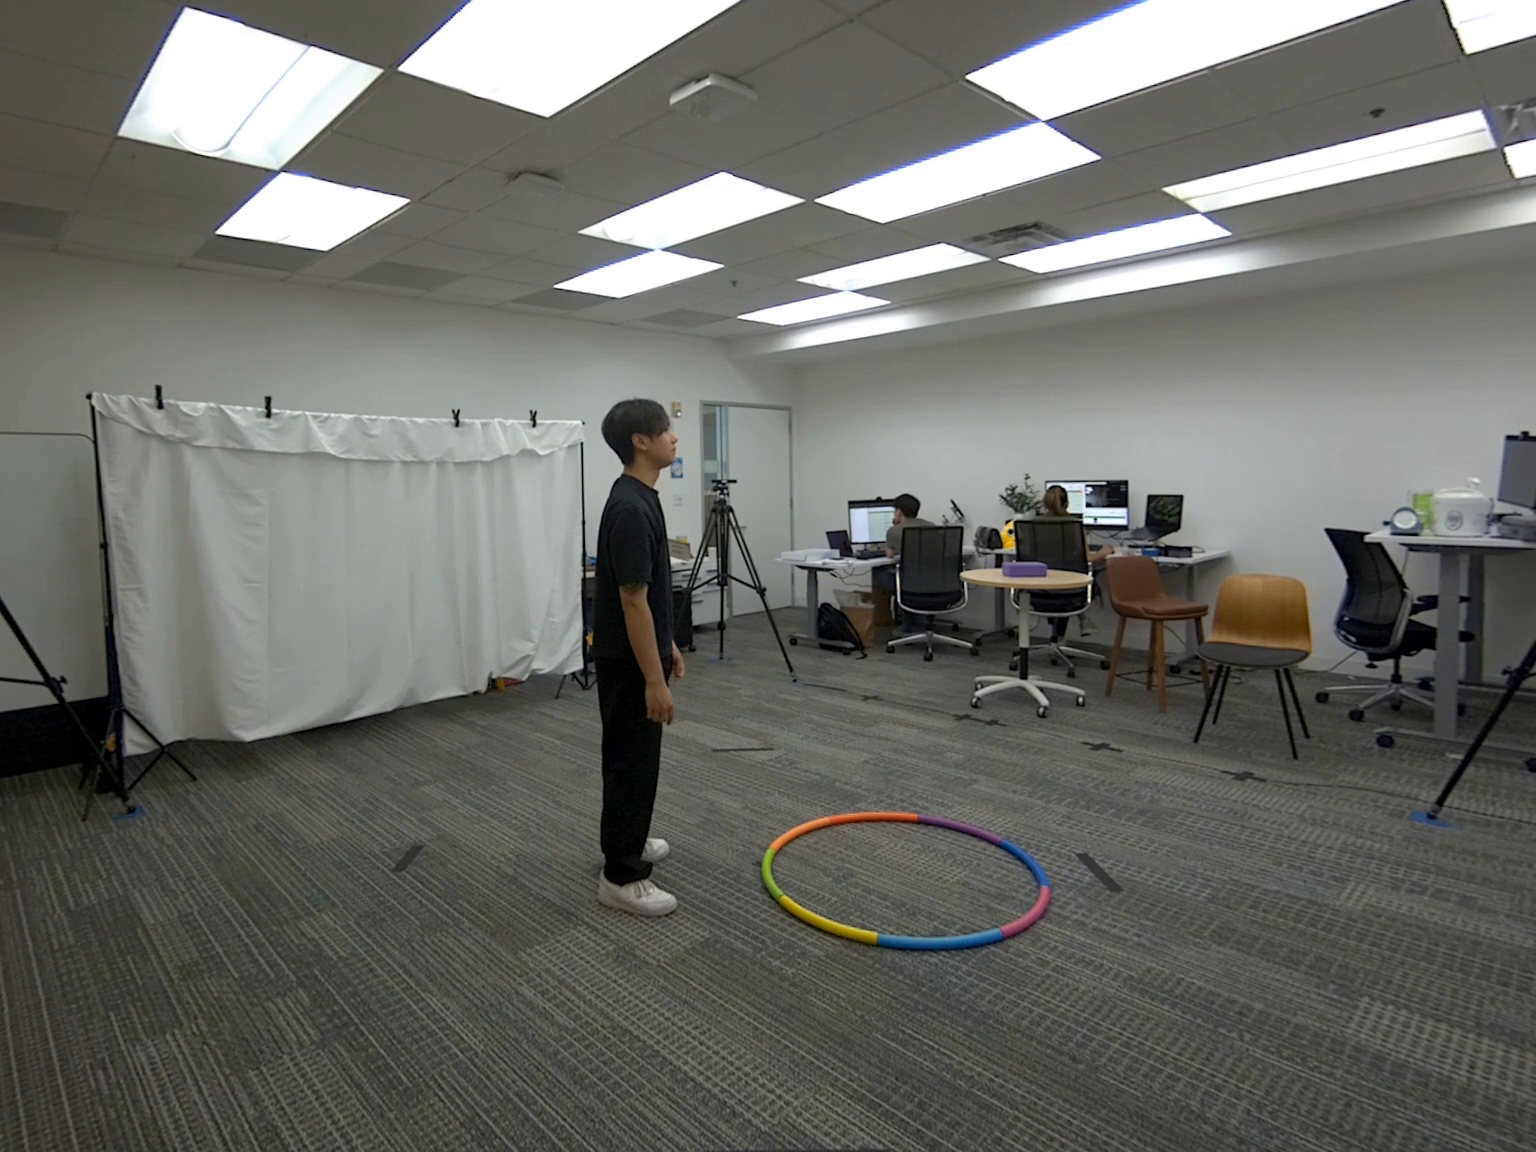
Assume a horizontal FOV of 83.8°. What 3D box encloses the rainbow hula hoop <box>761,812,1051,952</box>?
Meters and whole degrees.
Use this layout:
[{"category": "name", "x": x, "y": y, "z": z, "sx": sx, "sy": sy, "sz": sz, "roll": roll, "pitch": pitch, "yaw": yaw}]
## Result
[{"category": "rainbow hula hoop", "x": 0.460, "y": 1.019, "z": 3.007, "sx": 0.978, "sy": 0.035, "sz": 0.984, "roll": -1, "pitch": 6, "yaw": -2}]
